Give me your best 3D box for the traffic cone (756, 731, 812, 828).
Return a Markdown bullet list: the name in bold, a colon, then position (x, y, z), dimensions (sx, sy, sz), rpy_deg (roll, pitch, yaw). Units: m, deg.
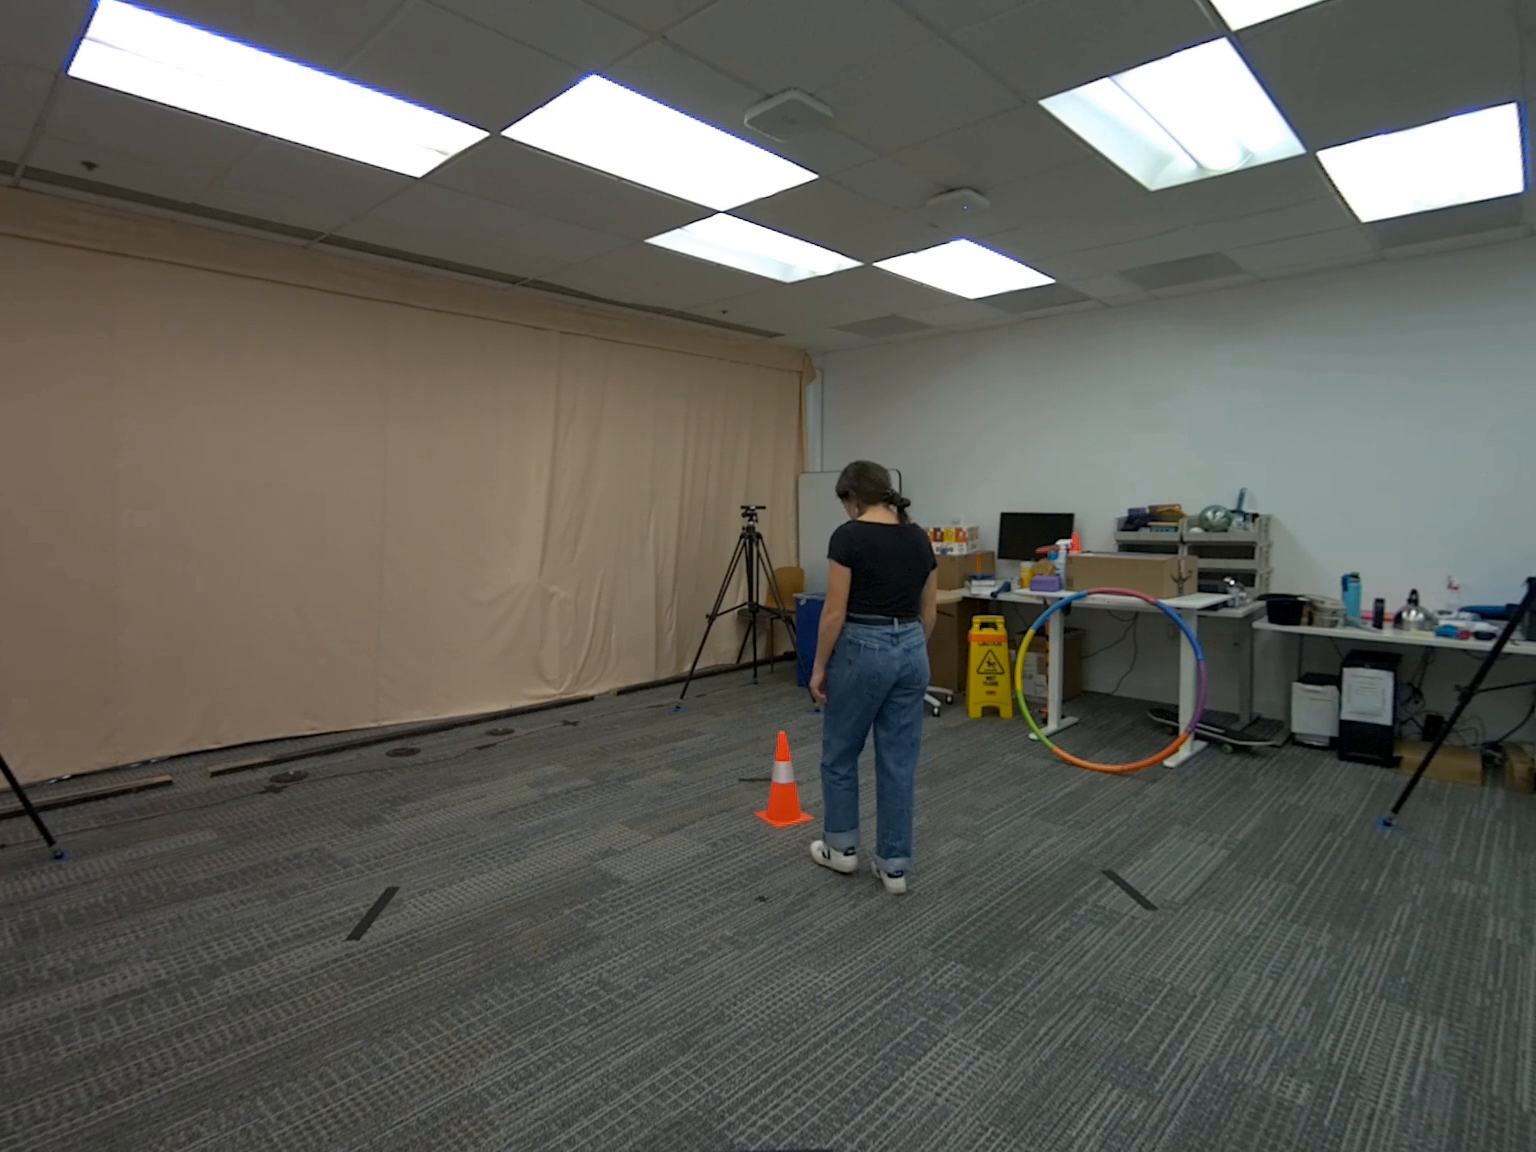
- **traffic cone**: position (0.078, 0.893, 3.773), dimensions (0.199, 0.383, 0.209), rpy_deg (-1, 4, -32)
